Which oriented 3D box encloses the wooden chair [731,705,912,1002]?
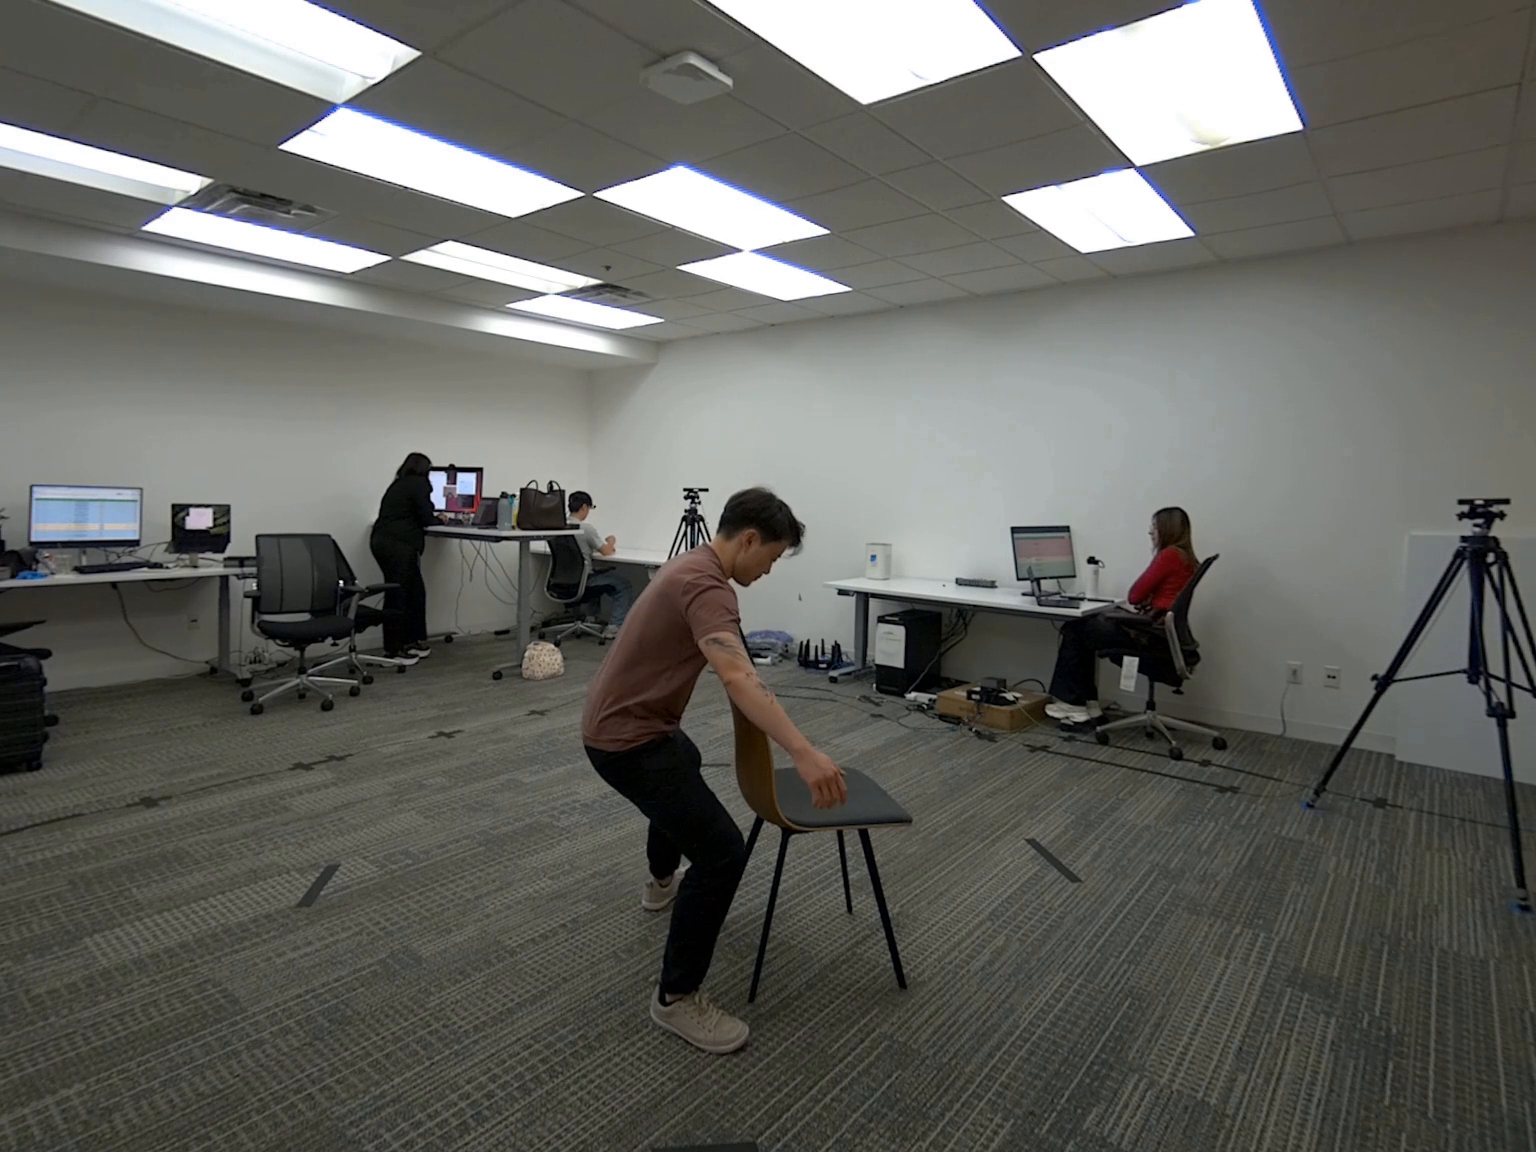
[{"bbox_3d":[0.132,0.708,2.539,0.517,0.874,0.486,-4,4,-13],"label":"wooden chair"}]
